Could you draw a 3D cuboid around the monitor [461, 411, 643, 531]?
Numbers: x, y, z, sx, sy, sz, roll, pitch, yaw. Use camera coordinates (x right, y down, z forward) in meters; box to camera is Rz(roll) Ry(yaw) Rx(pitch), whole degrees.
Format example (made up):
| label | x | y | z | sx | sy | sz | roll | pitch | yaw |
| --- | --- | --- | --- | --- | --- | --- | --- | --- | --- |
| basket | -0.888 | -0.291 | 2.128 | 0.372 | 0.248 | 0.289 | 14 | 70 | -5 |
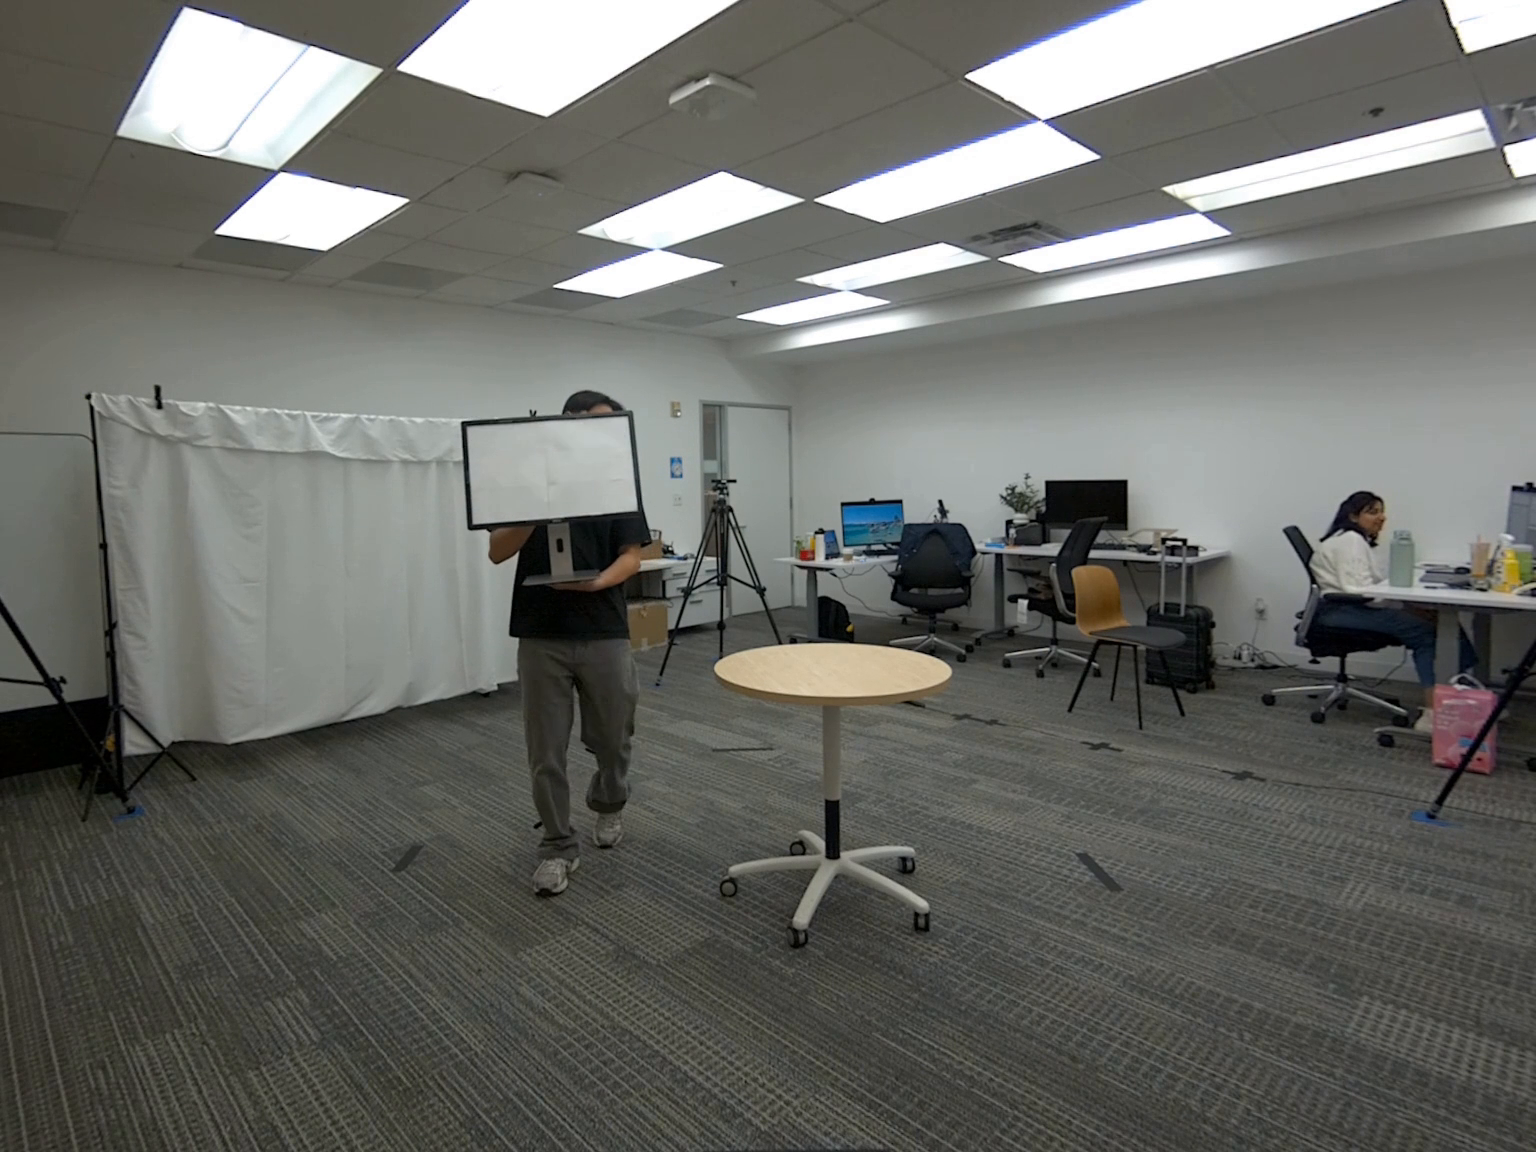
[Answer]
| label | x | y | z | sx | sy | sz | roll | pitch | yaw |
| --- | --- | --- | --- | --- | --- | --- | --- | --- | --- |
| monitor | -0.704 | -0.243 | 2.817 | 0.559 | 0.563 | 0.224 | -6 | 5 | -6 |
